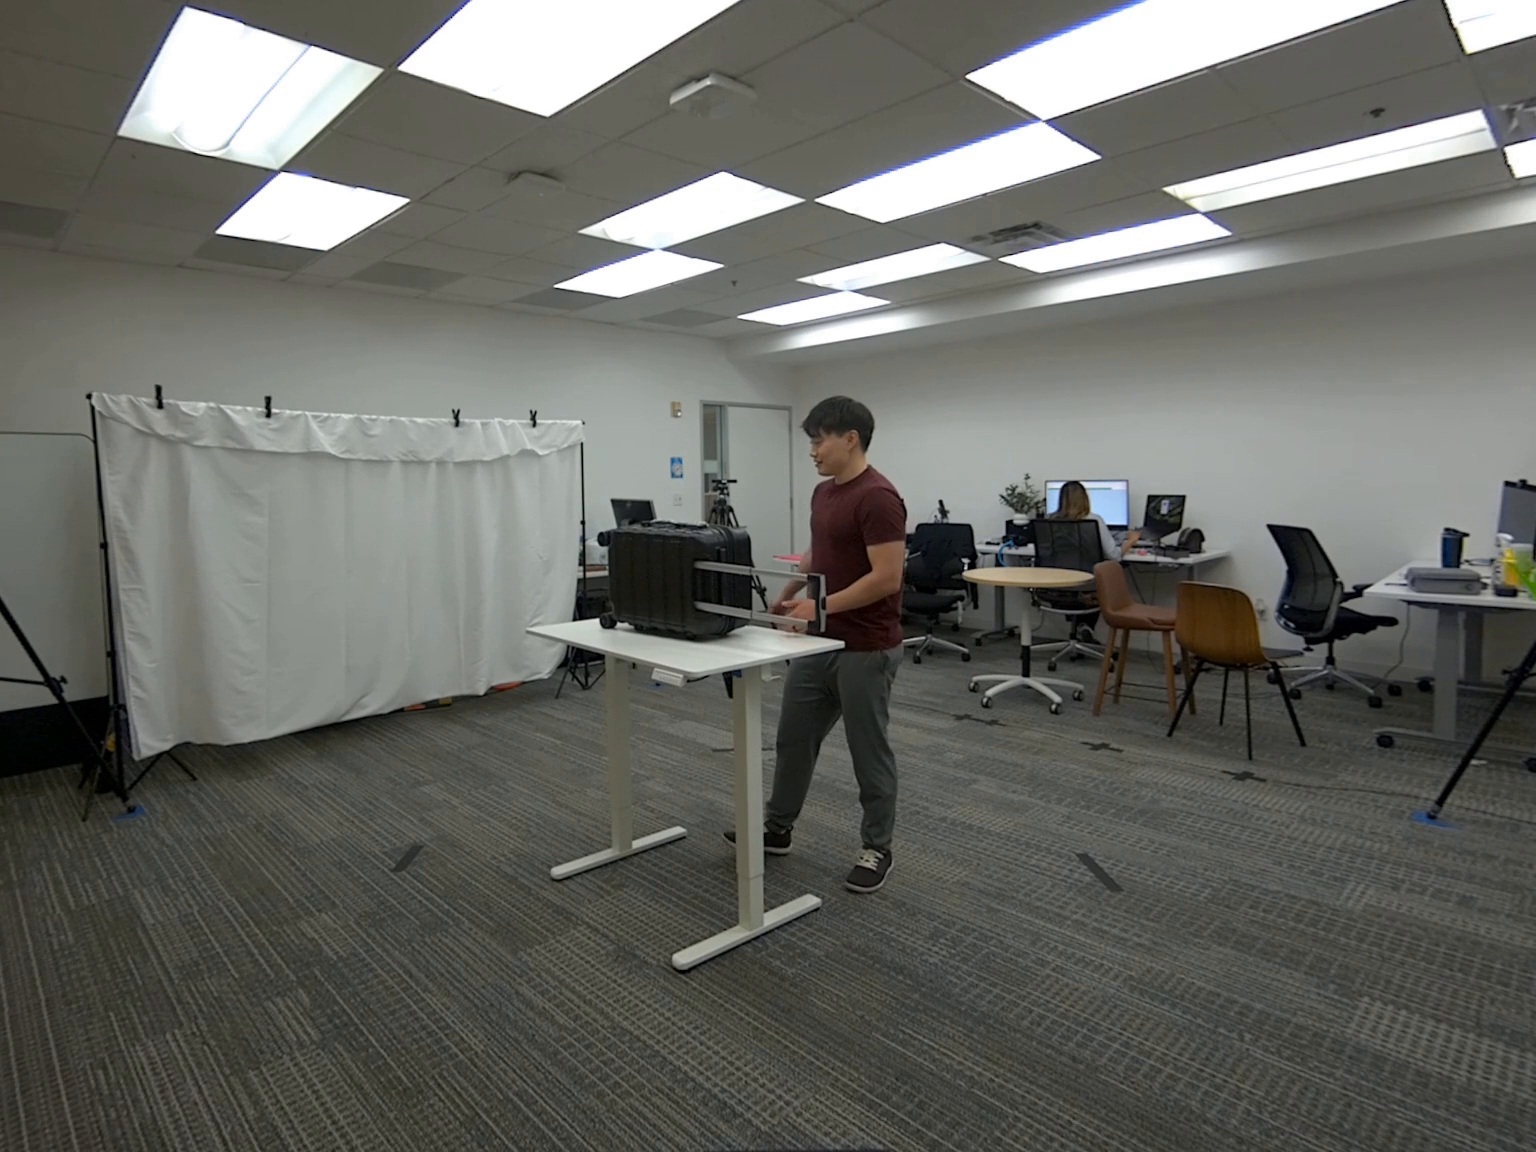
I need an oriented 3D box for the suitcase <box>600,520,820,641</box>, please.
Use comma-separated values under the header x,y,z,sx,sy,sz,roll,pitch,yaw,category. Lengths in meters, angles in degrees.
x,y,z,sx,sy,sz,roll,pitch,yaw,category
-0.155,0.019,2.772,1.009,0.382,0.250,4,7,43,suitcase
